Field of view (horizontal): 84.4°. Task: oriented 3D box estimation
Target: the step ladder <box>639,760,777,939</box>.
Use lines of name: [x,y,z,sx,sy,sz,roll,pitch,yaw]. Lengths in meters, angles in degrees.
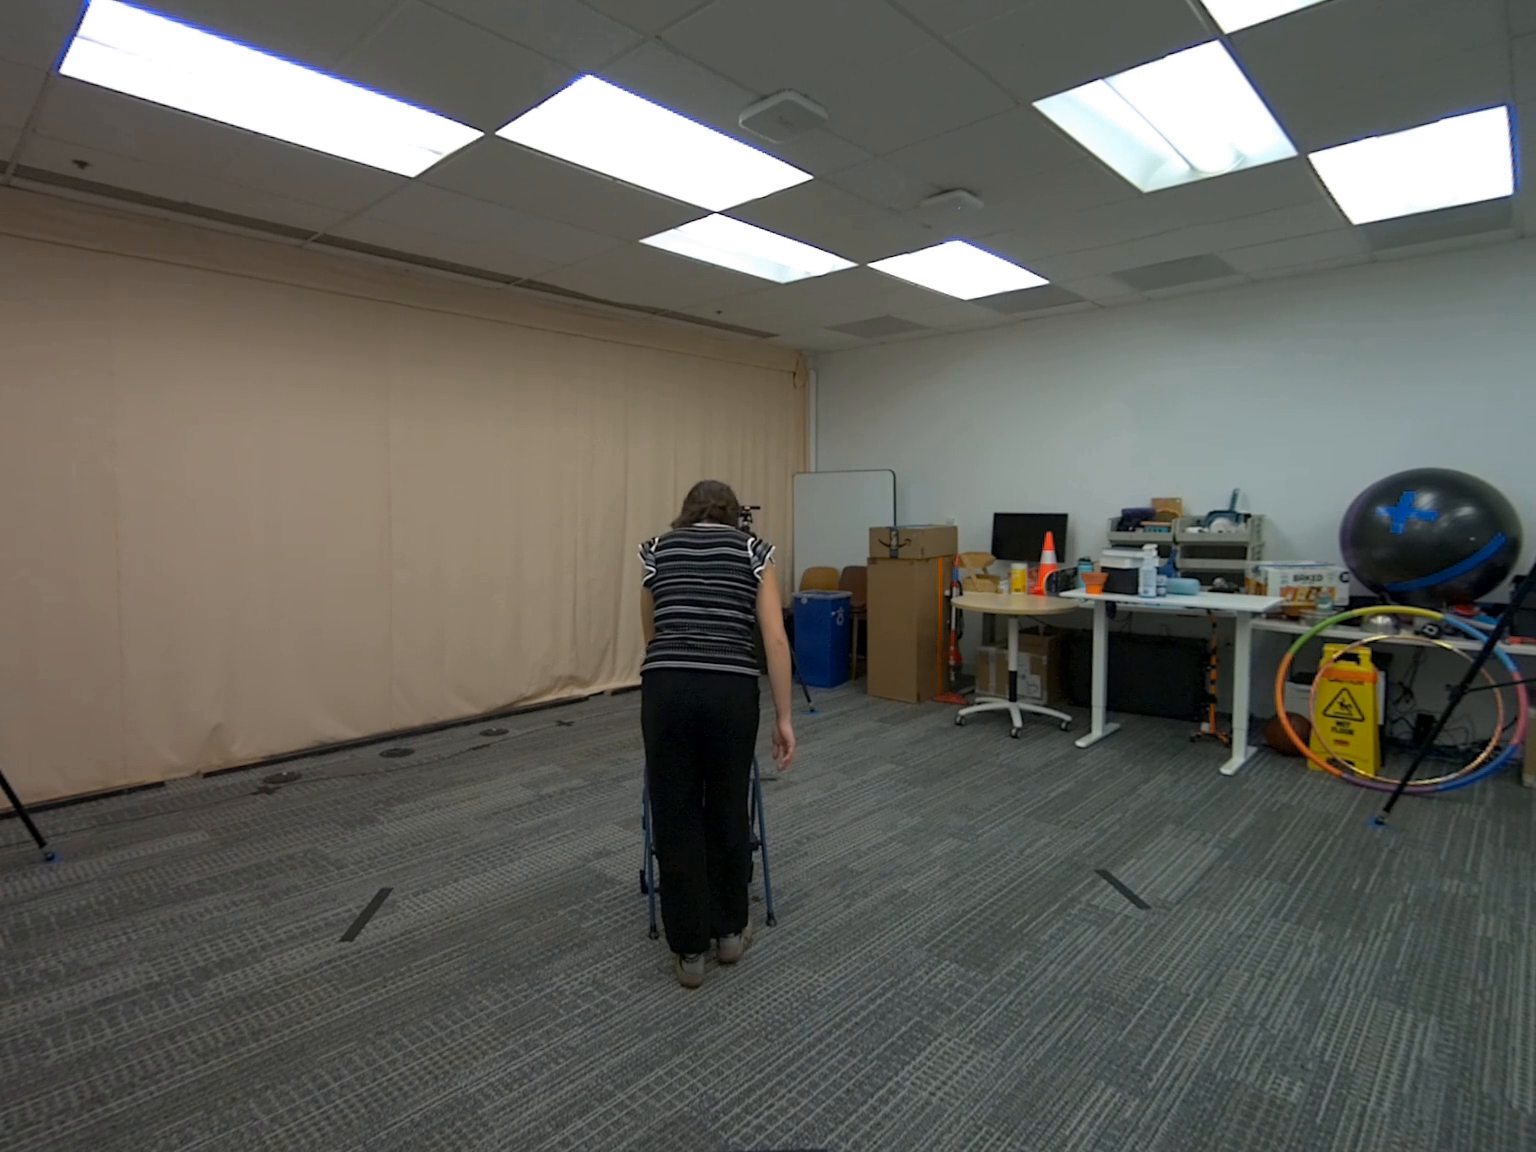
step ladder: [-0.219,0.851,2.908,0.425,0.605,0.355,-1,3,-13]
